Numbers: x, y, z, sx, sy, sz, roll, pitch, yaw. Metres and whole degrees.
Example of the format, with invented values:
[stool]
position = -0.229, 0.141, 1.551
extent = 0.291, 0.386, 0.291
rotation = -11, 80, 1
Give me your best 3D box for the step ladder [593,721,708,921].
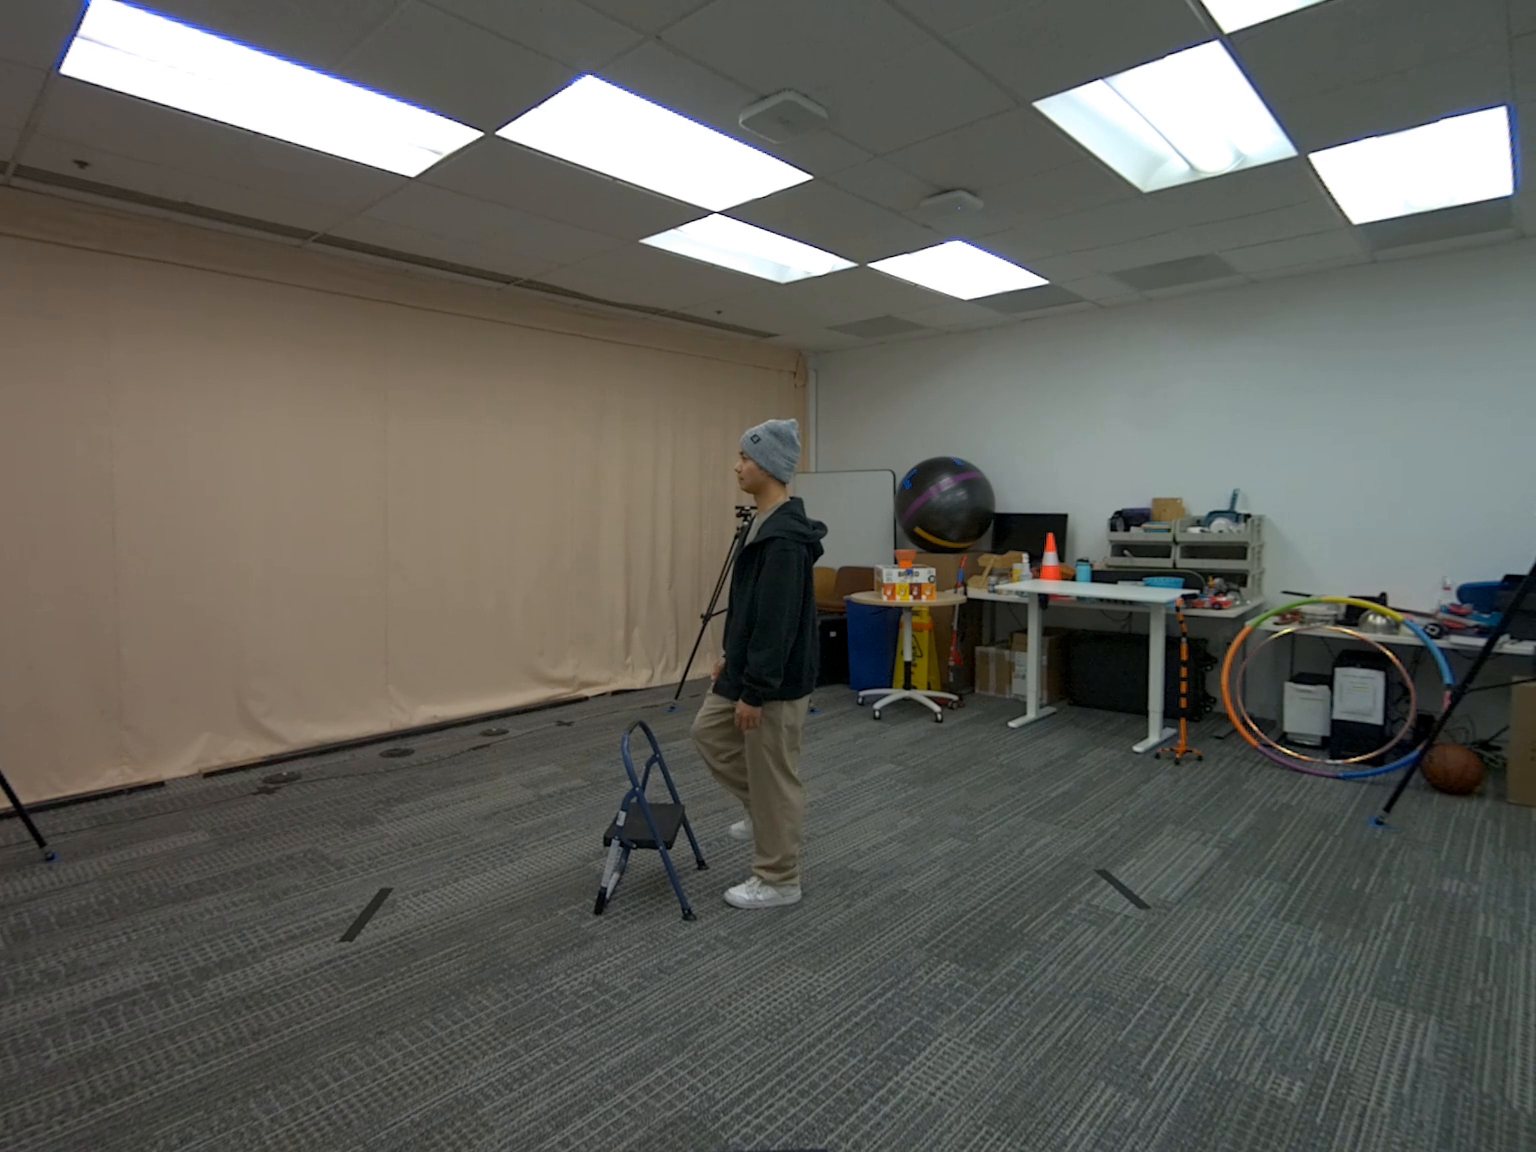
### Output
[step ladder]
position = -0.415, 0.842, 3.045
extent = 0.351, 0.605, 0.430
rotation = 0, 3, 3
